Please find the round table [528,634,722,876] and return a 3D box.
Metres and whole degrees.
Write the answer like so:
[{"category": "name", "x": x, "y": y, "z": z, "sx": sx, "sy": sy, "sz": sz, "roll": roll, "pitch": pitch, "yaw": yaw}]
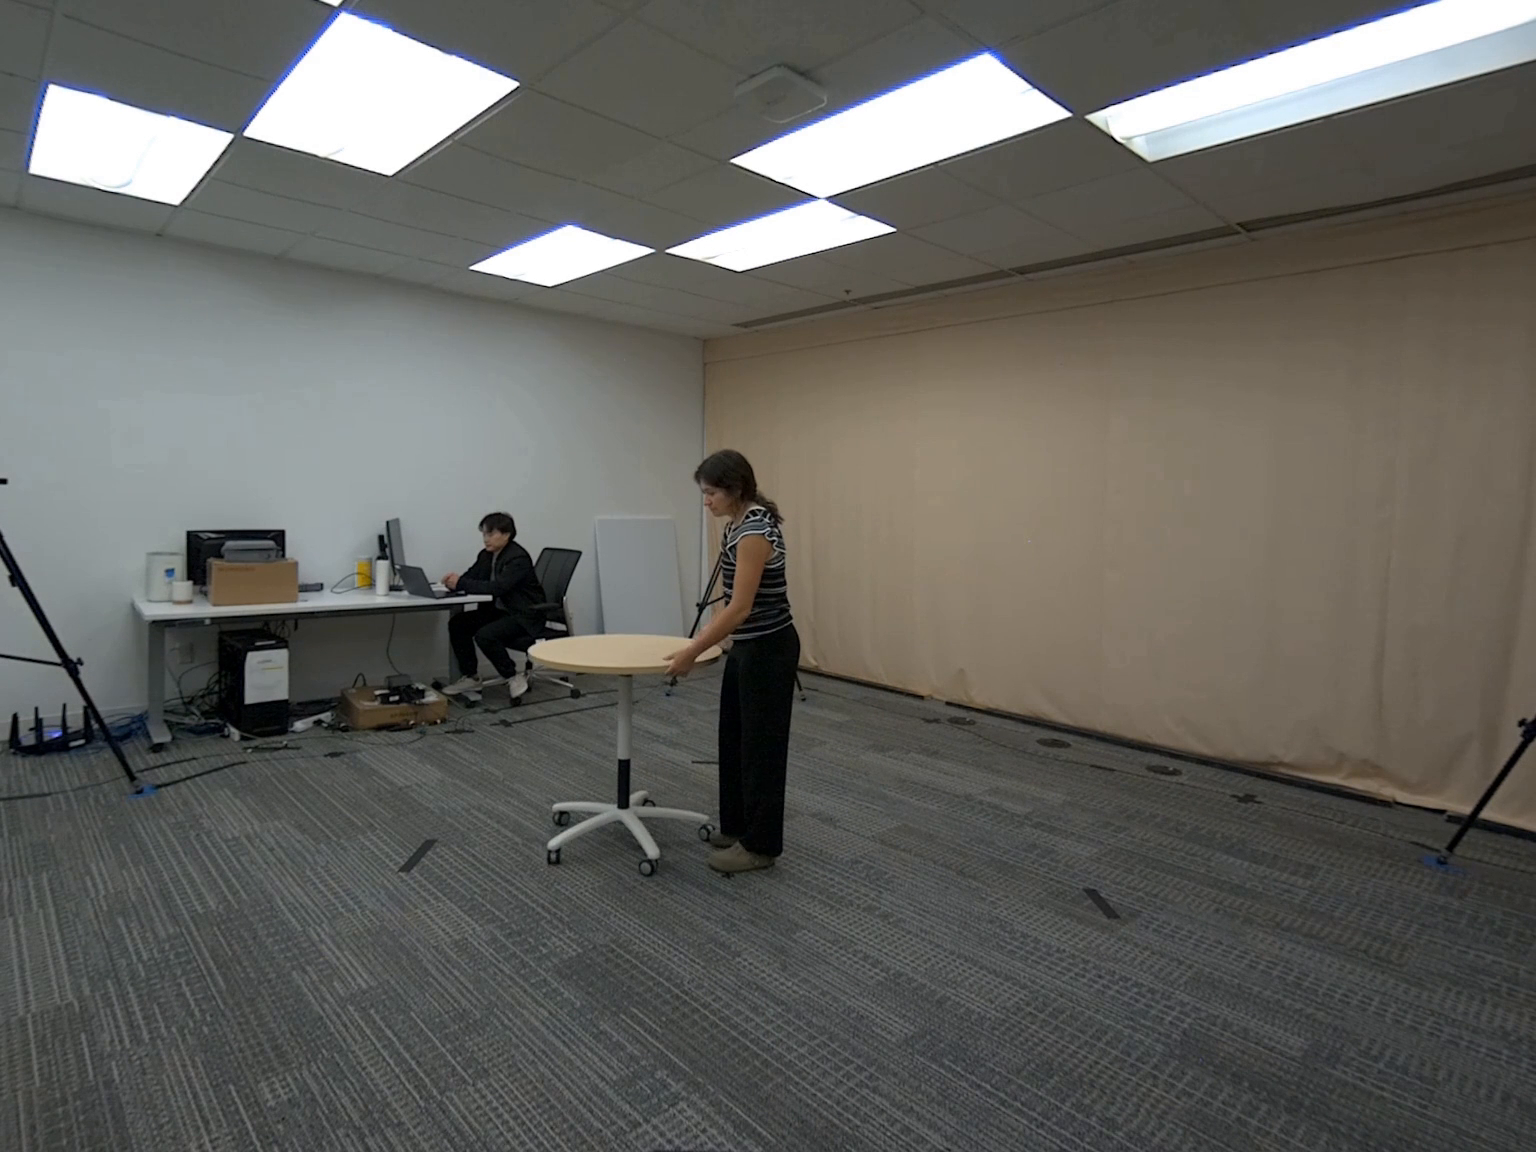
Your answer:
[{"category": "round table", "x": -0.593, "y": 0.673, "z": 3.387, "sx": 0.784, "sy": 0.785, "sz": 0.787, "roll": 2, "pitch": 3, "yaw": -1}]
